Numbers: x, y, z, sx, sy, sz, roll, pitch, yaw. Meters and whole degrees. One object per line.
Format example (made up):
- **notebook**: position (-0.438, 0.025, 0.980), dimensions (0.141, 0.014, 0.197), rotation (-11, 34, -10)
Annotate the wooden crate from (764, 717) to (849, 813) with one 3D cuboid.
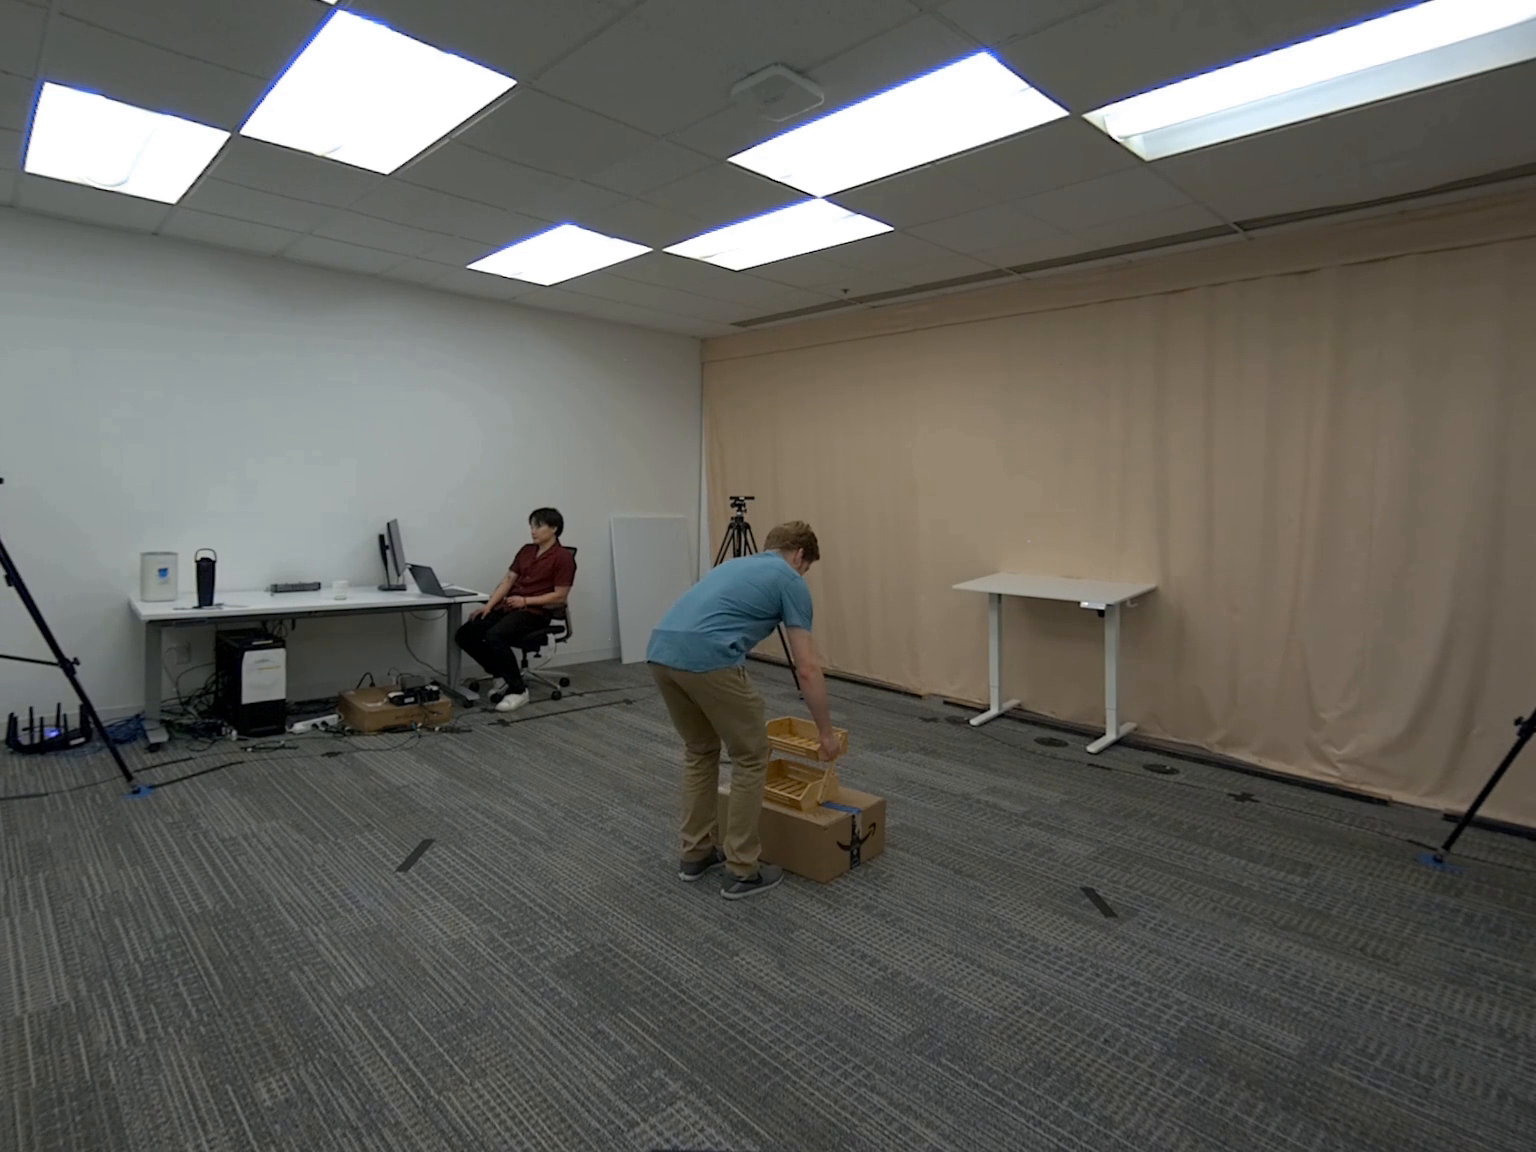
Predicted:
- **wooden crate**: position (0.098, 0.741, 3.385), dimensions (0.333, 0.273, 0.295), rotation (6, 4, 41)
